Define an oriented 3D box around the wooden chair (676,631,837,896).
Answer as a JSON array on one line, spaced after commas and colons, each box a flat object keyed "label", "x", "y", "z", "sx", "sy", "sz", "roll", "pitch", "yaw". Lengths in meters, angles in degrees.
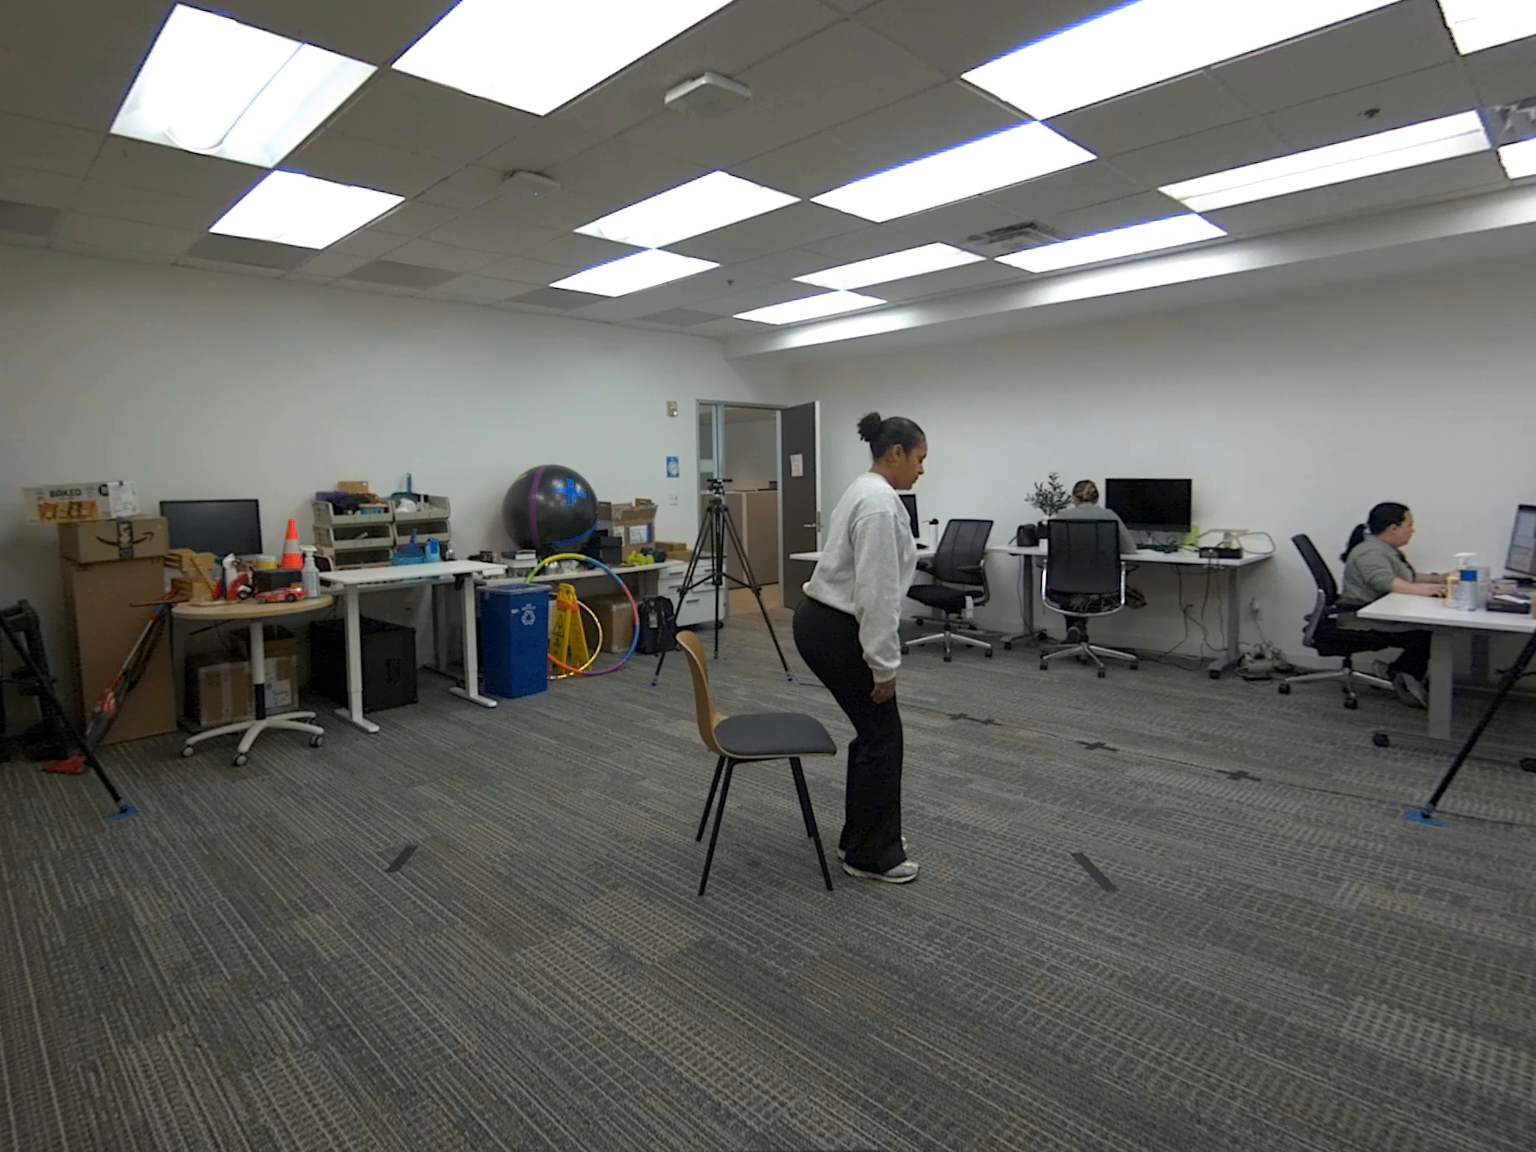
[{"label": "wooden chair", "x": -0.028, "y": 0.618, "z": 3.071, "sx": 0.521, "sy": 0.874, "sz": 0.482, "roll": -5, "pitch": 4, "yaw": -5}]
